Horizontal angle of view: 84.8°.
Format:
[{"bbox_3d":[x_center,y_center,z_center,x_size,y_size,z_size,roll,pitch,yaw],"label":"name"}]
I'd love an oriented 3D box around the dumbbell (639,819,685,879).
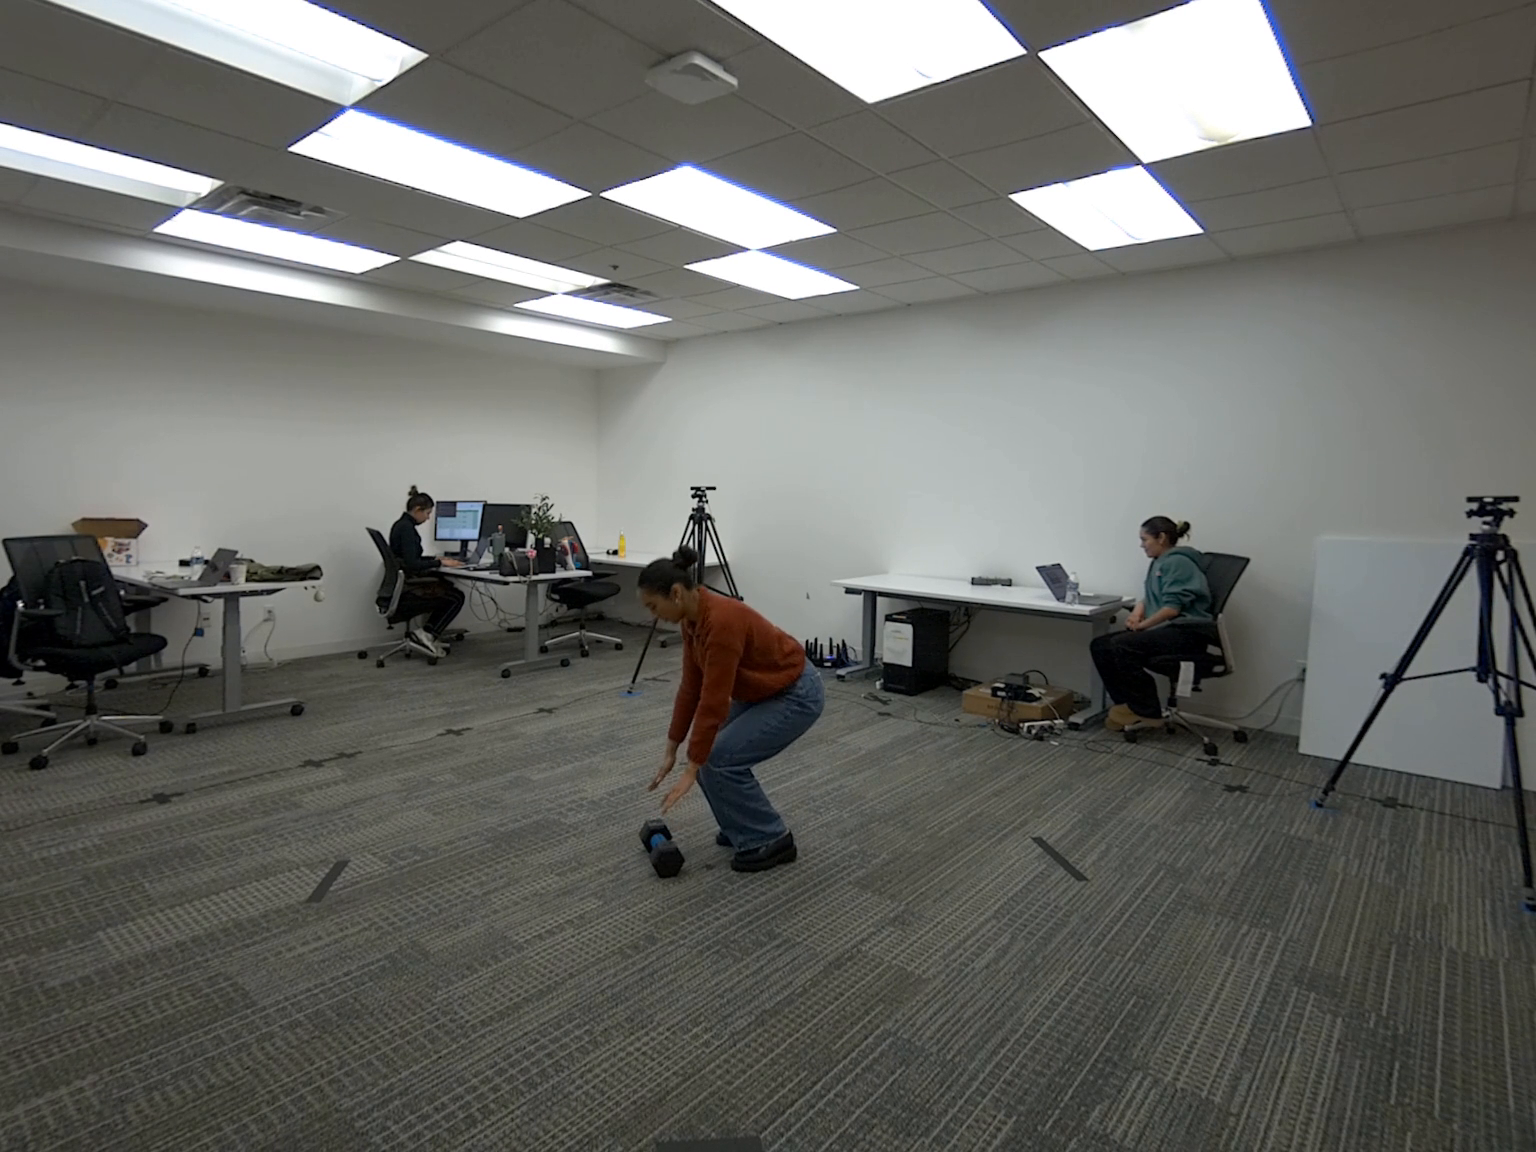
[{"bbox_3d":[-0.408,1.003,3.156,0.121,0.108,0.299,1,4,-17],"label":"dumbbell"}]
